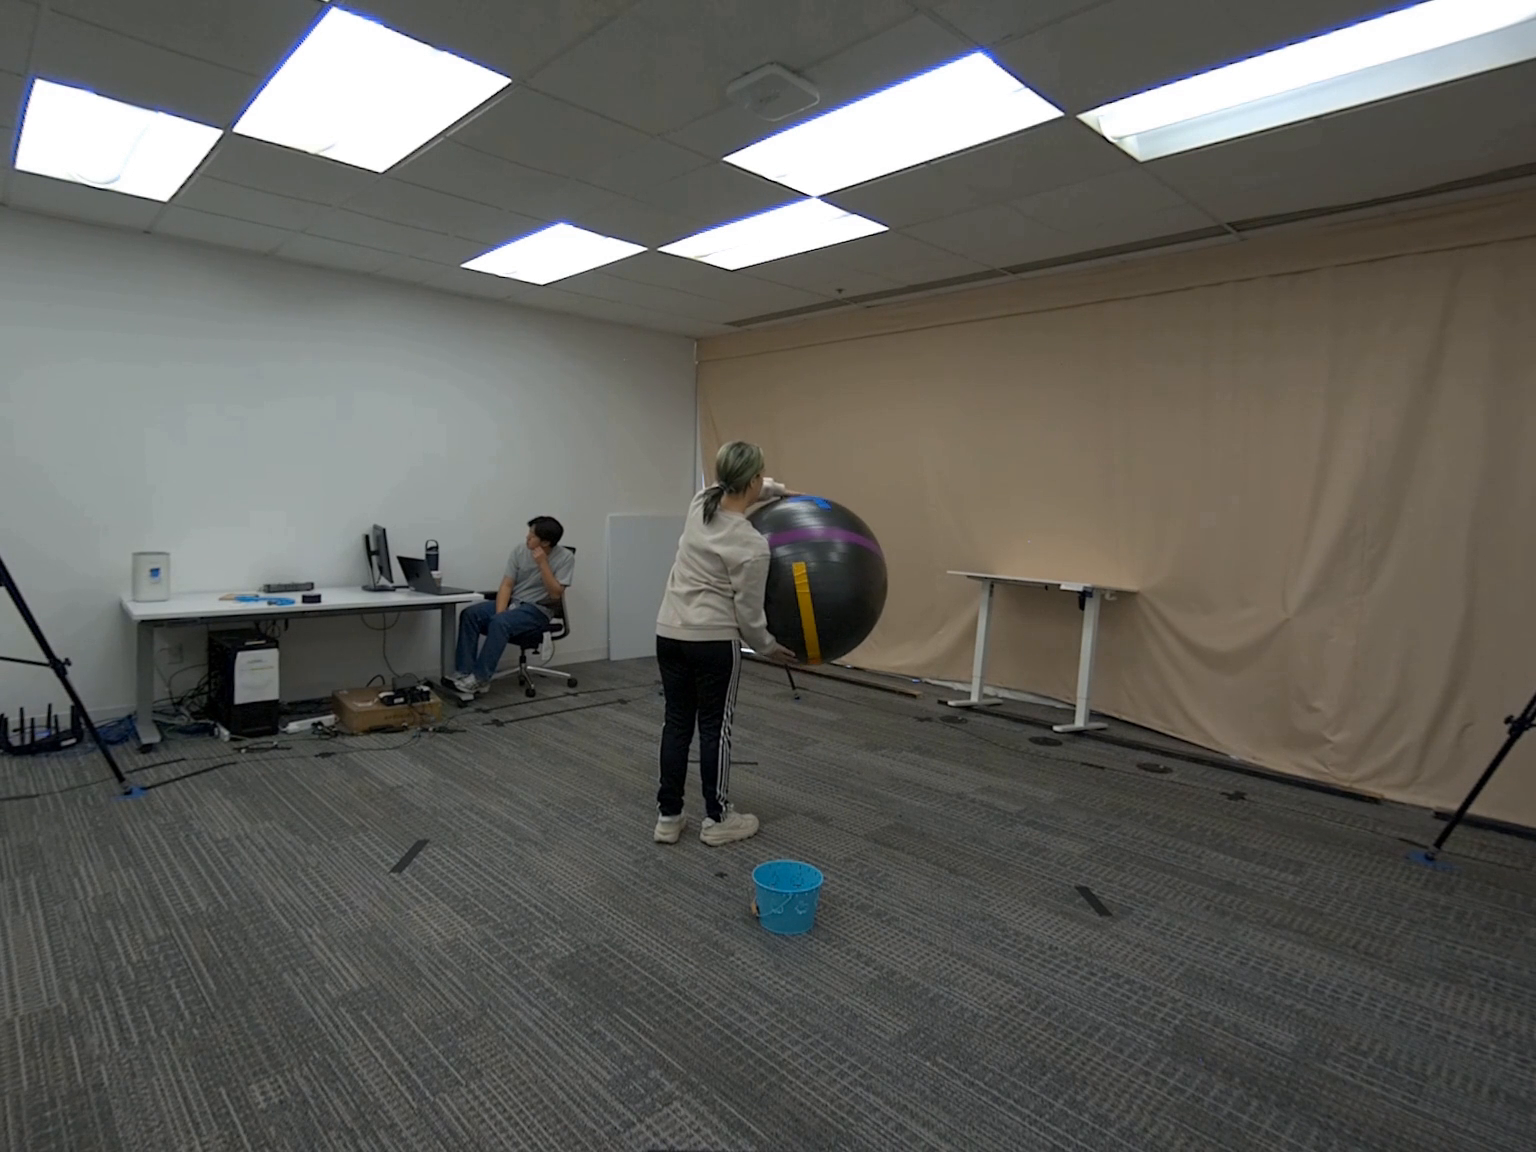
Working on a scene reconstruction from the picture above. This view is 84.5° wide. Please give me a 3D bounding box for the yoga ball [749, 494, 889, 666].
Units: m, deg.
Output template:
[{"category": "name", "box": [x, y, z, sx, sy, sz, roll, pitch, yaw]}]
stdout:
[{"category": "yoga ball", "box": [0.142, 0.021, 3.760, 0.757, 0.756, 0.761, 1, 4, -1]}]
